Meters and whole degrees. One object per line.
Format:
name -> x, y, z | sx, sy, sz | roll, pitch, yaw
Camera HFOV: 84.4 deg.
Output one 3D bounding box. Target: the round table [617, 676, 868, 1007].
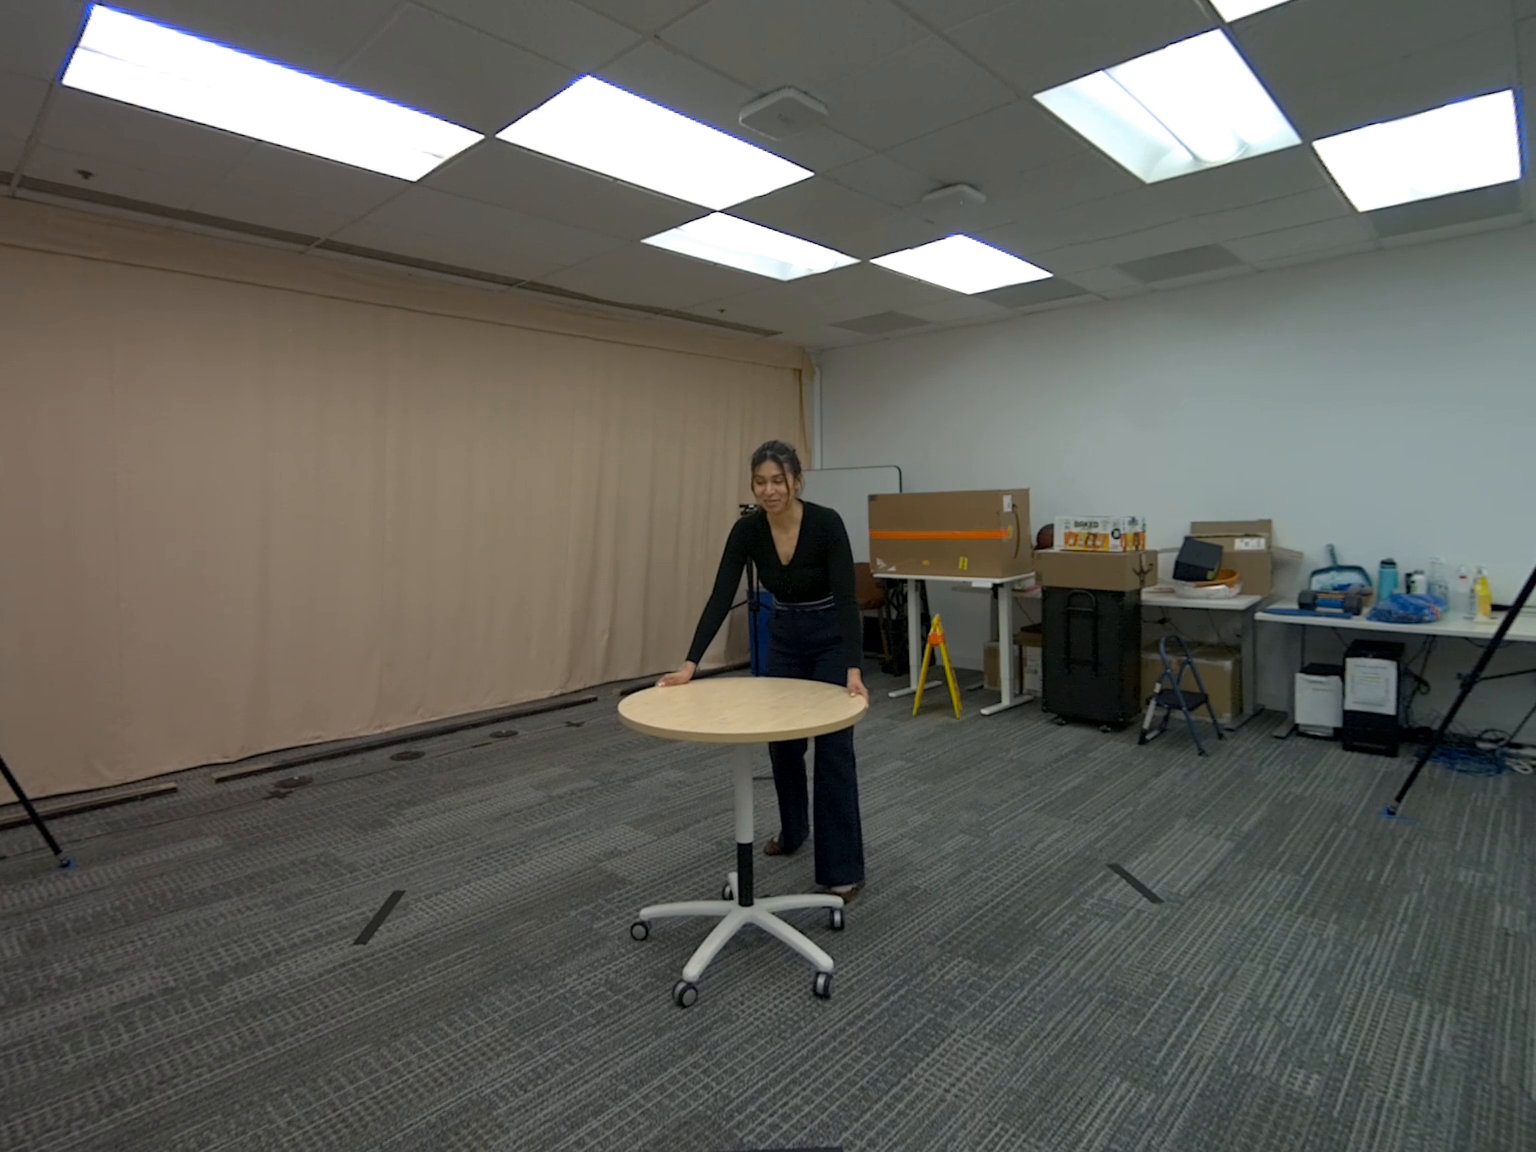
round table -> -0.078, 0.782, 2.634 | 0.763, 0.792, 0.766 | -1, 4, -2
